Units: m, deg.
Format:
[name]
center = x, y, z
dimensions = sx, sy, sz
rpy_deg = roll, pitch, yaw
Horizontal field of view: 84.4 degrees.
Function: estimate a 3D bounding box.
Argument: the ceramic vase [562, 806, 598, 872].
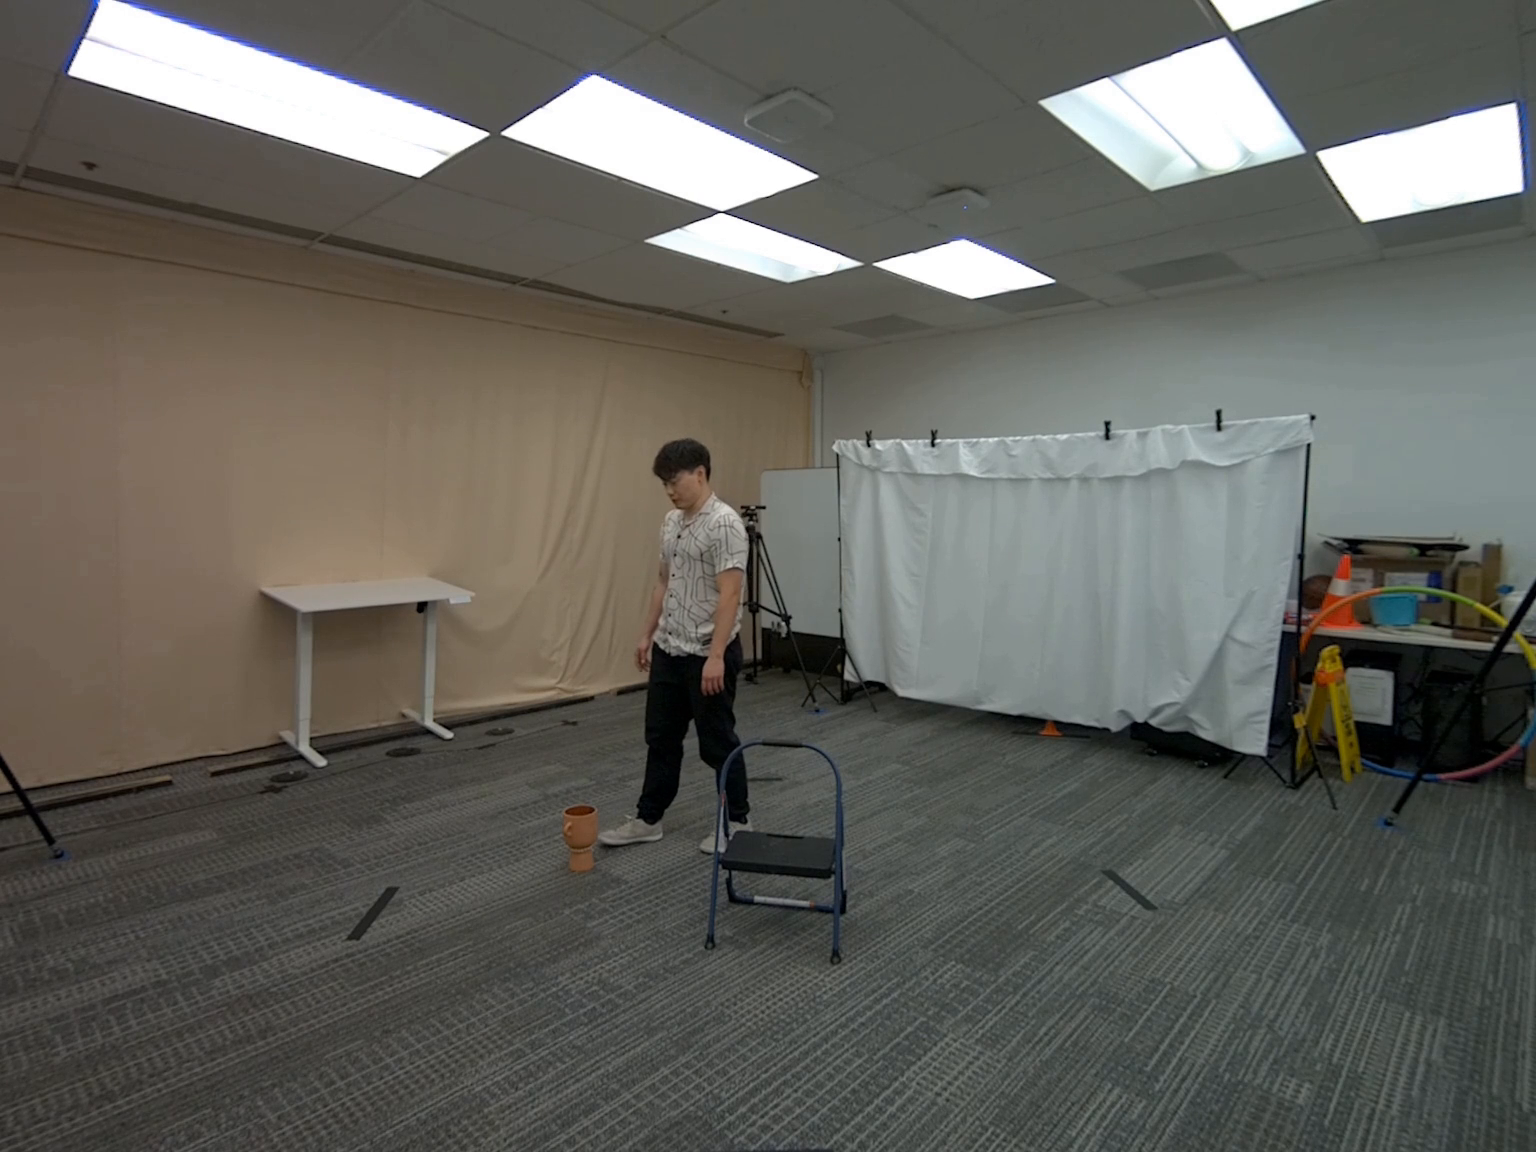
[ceramic vase]
center = -0.725, 1.015, 3.256
dimensions = 0.155, 0.219, 0.138
rpy_deg = -2, 4, -26
